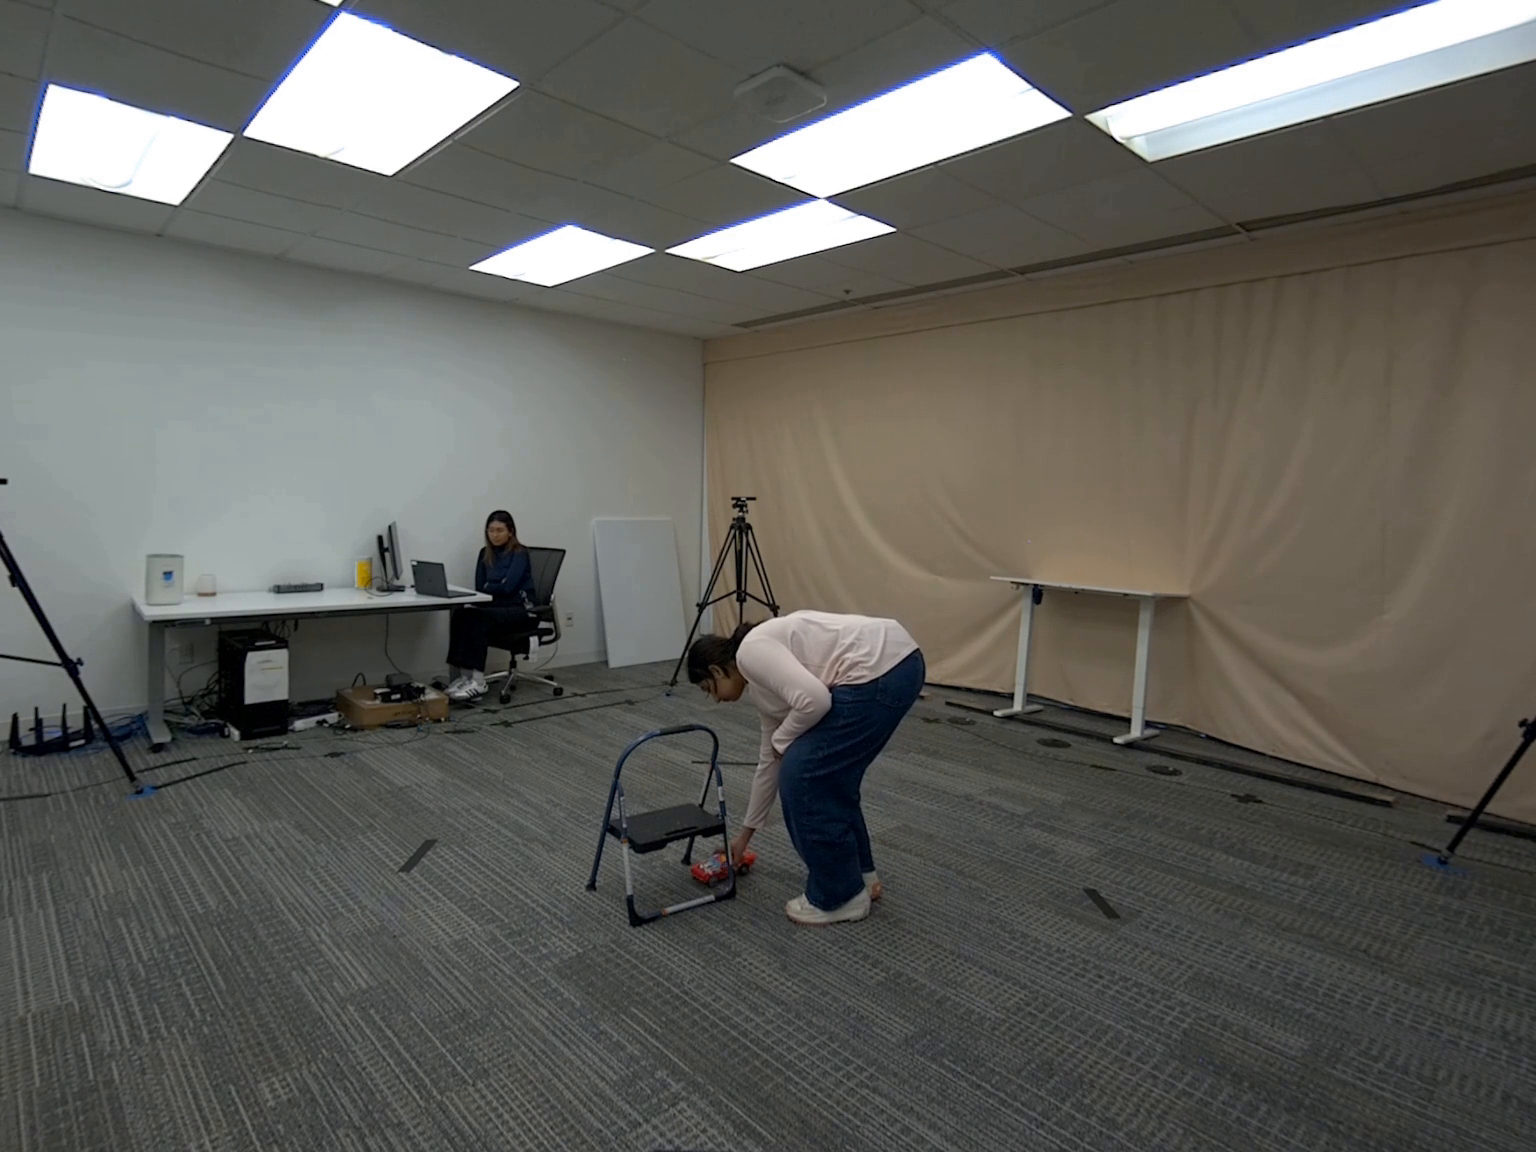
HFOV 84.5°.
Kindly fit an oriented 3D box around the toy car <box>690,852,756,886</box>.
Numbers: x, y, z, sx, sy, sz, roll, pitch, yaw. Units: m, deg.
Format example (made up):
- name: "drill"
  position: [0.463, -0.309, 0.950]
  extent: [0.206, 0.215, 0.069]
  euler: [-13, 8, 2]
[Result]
- name: "toy car"
  position: [-0.162, 1.071, 3.119]
  extent: [0.250, 0.082, 0.133]
  euler: [-17, 15, -36]
